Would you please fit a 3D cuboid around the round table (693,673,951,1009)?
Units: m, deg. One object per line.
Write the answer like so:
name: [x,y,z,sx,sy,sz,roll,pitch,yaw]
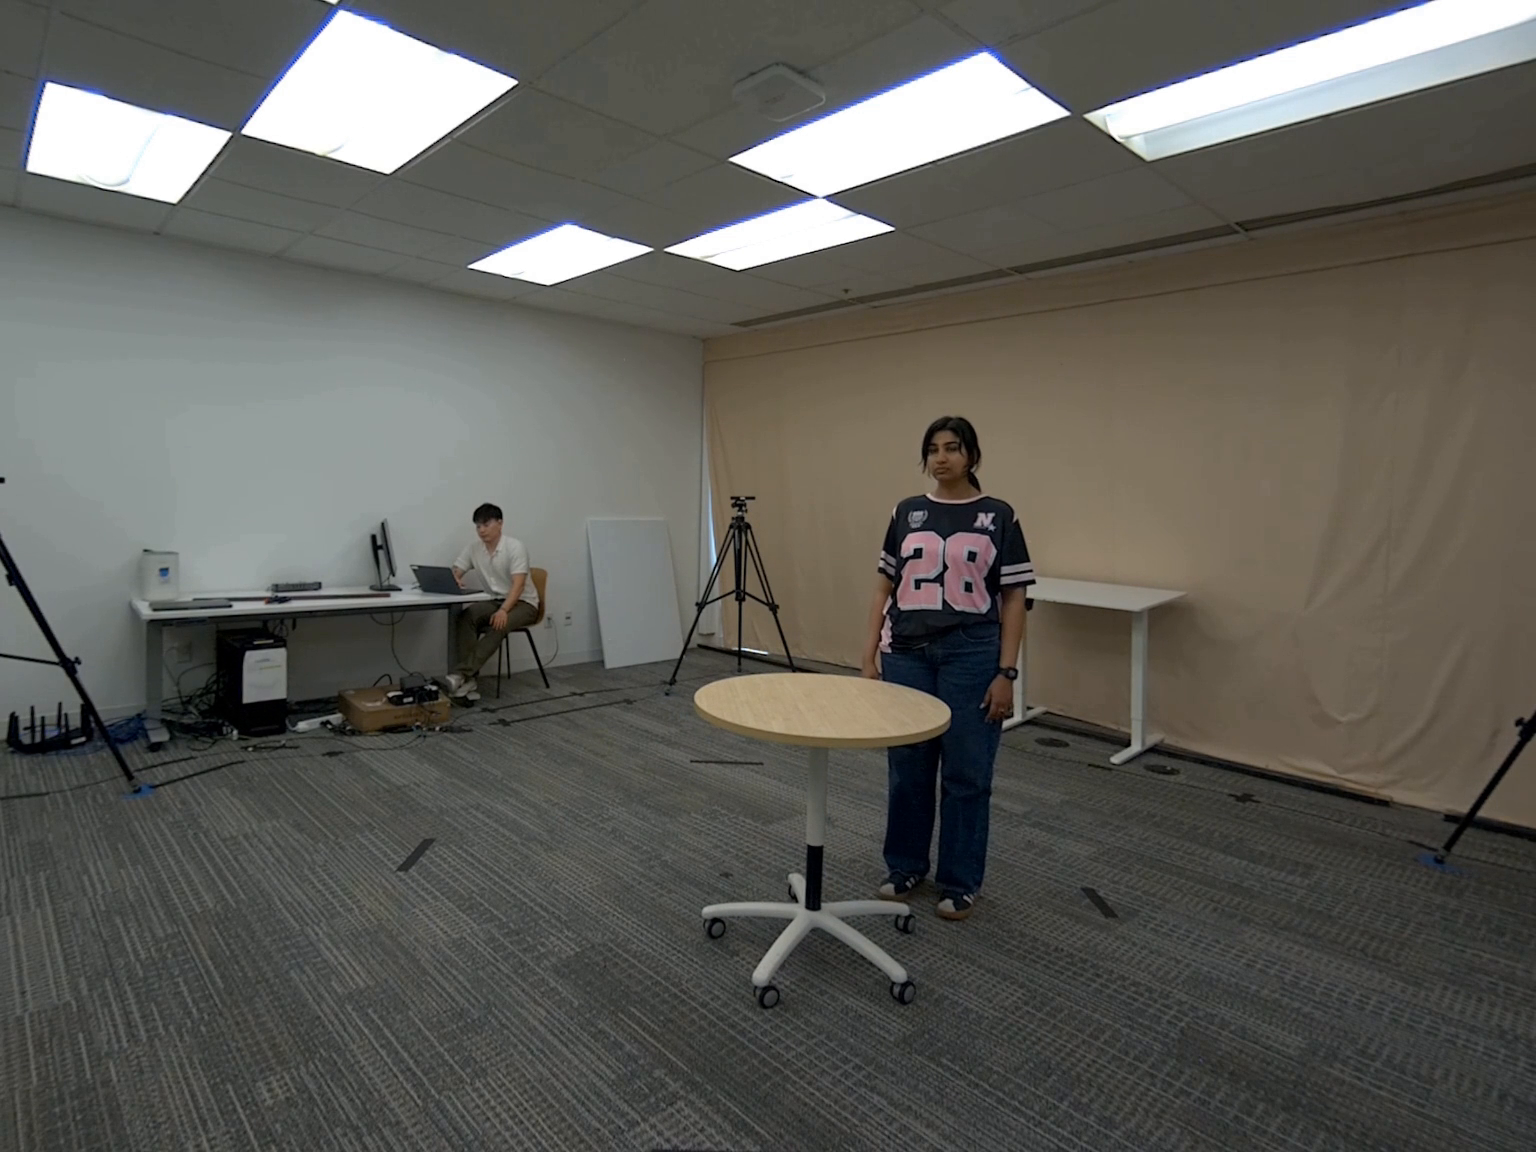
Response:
round table: [0.137,0.774,2.566,0.763,0.791,0.767,2,5,-2]
